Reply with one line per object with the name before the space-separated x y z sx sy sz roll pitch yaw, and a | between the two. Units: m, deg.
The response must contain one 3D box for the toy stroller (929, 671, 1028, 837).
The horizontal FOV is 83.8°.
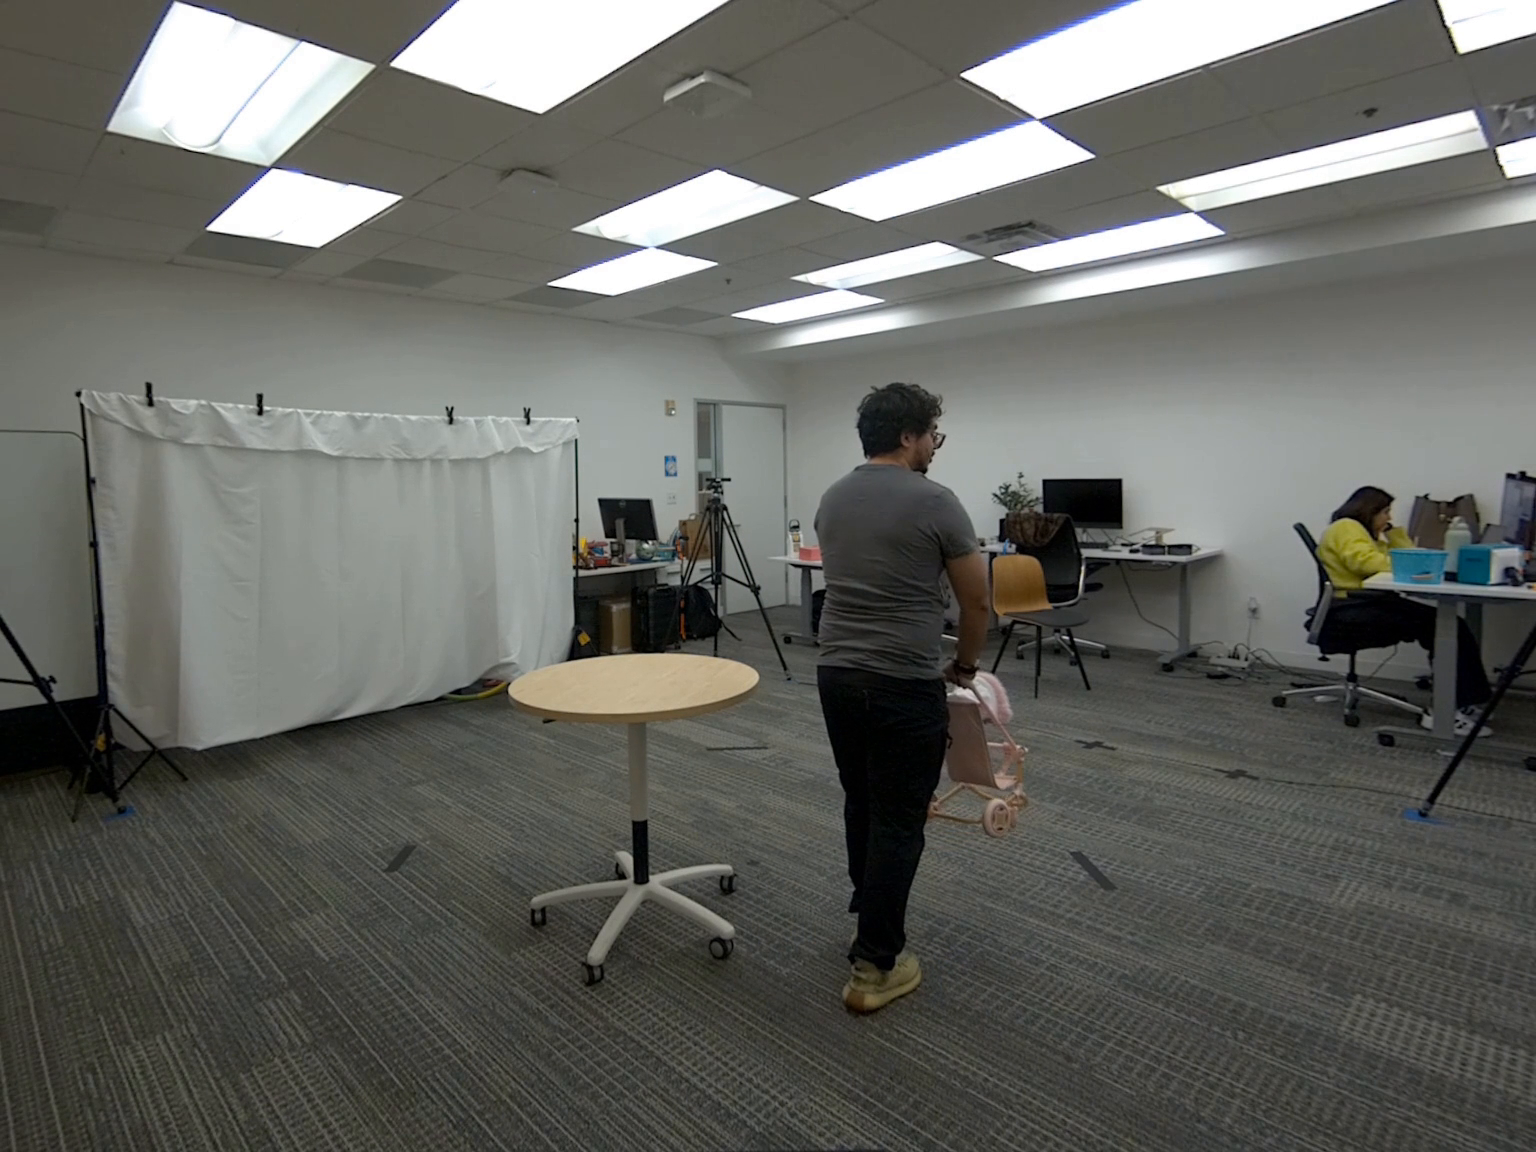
toy stroller | 0.645 0.538 2.621 0.333 0.537 0.287 -5 -4 -36
